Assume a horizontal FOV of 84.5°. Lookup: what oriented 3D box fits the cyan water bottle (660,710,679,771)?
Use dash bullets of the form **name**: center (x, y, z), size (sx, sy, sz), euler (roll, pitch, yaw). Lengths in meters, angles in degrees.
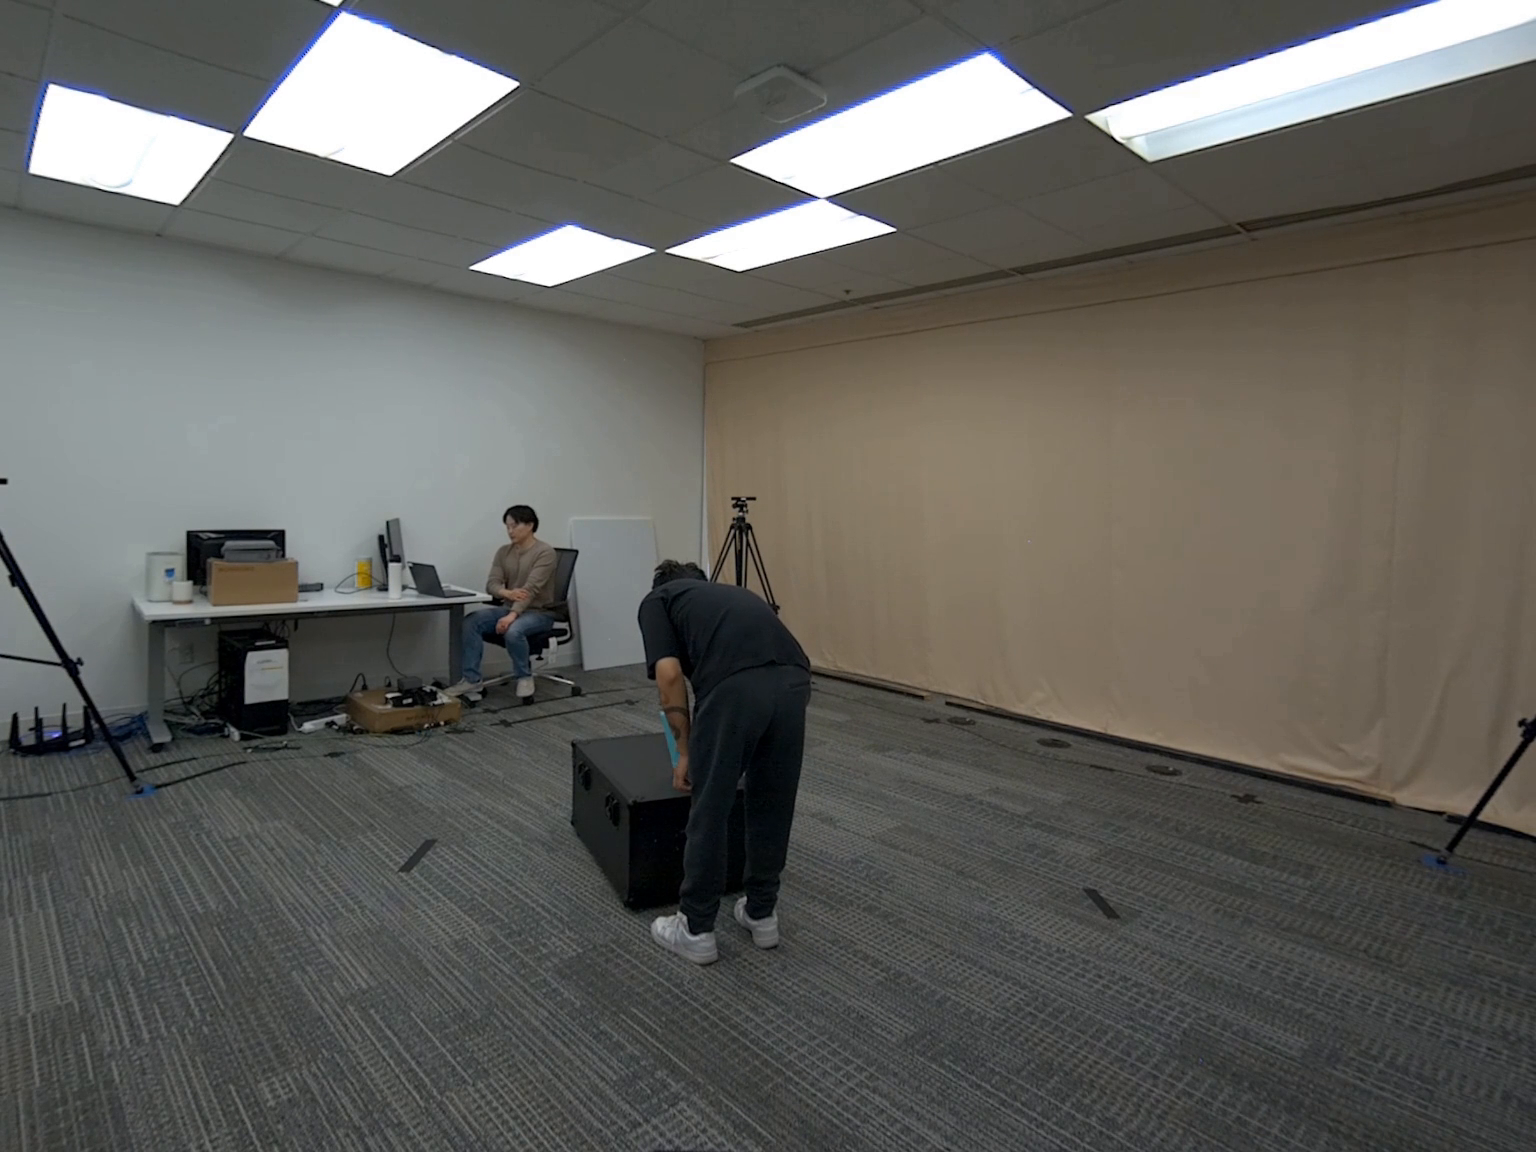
- **cyan water bottle**: center (-0.335, 0.569, 3.072), size (0.092, 0.283, 0.092), euler (-13, 0, -1)
